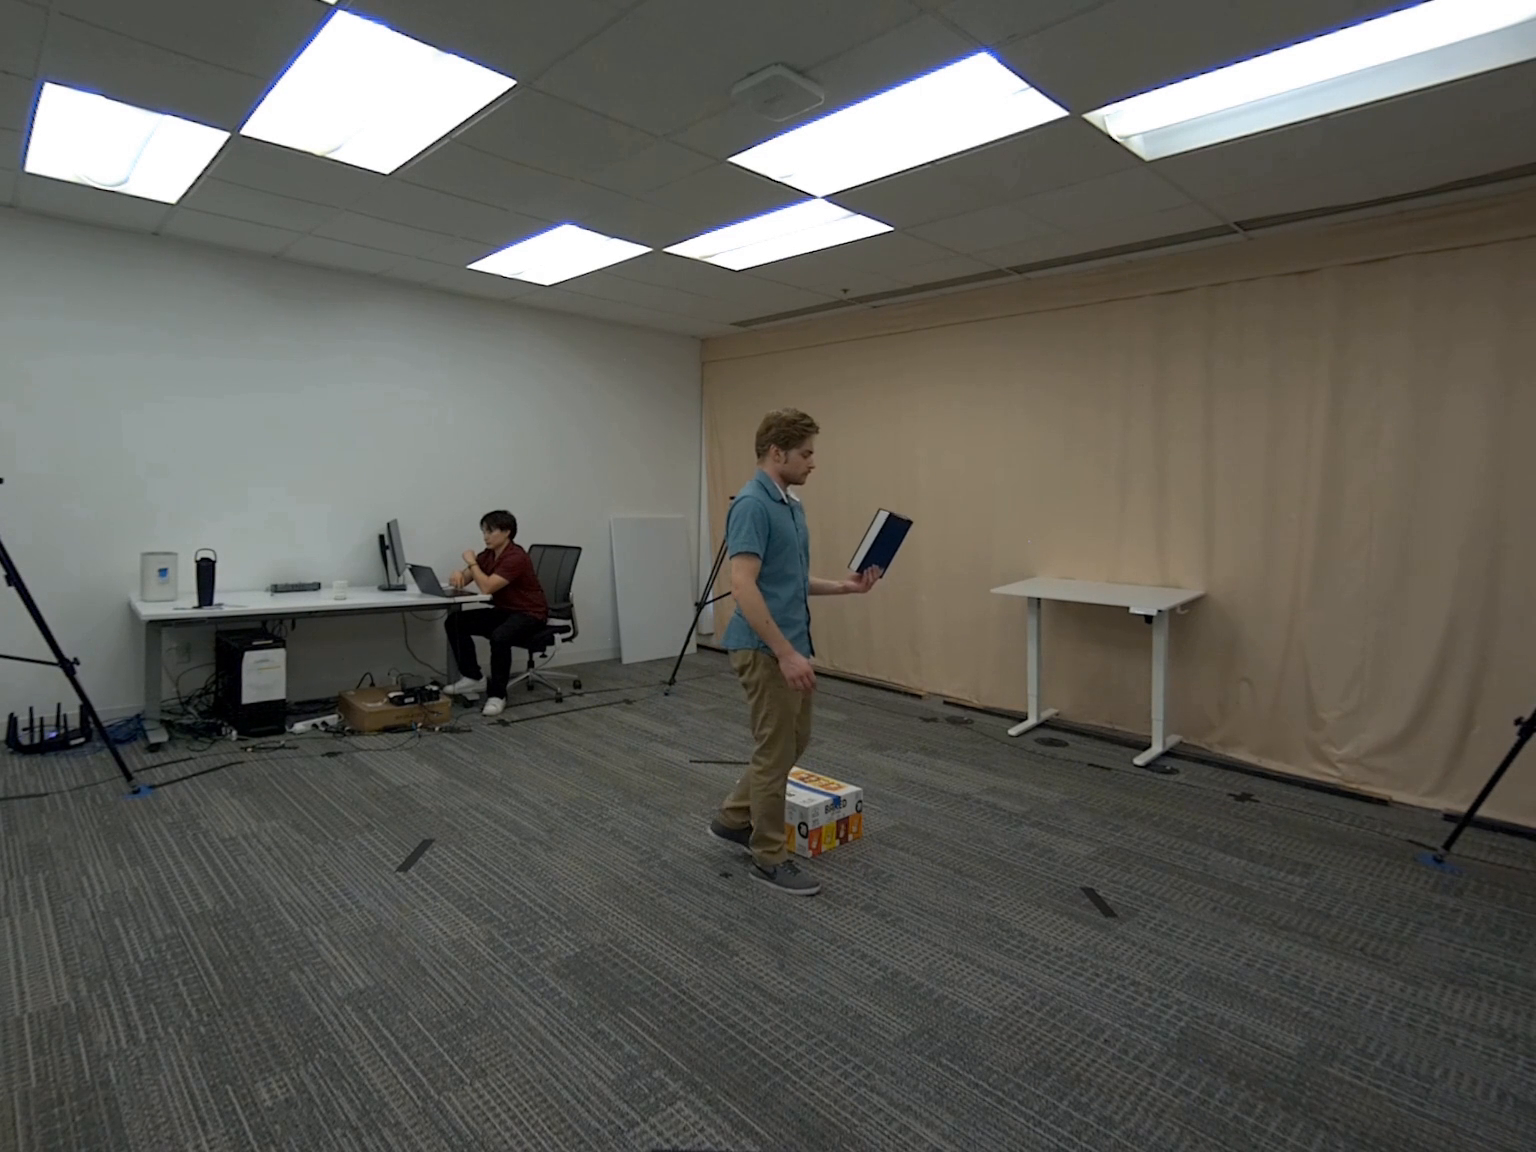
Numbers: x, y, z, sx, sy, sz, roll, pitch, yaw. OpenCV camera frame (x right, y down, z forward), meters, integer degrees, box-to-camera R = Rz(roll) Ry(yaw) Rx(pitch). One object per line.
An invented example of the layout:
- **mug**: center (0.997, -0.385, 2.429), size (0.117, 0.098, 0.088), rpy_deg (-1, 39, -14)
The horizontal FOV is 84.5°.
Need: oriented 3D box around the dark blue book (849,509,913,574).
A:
- **dark blue book**: center (0.397, -0.114, 3.031), size (0.159, 0.244, 0.046), rpy_deg (14, 19, -45)
